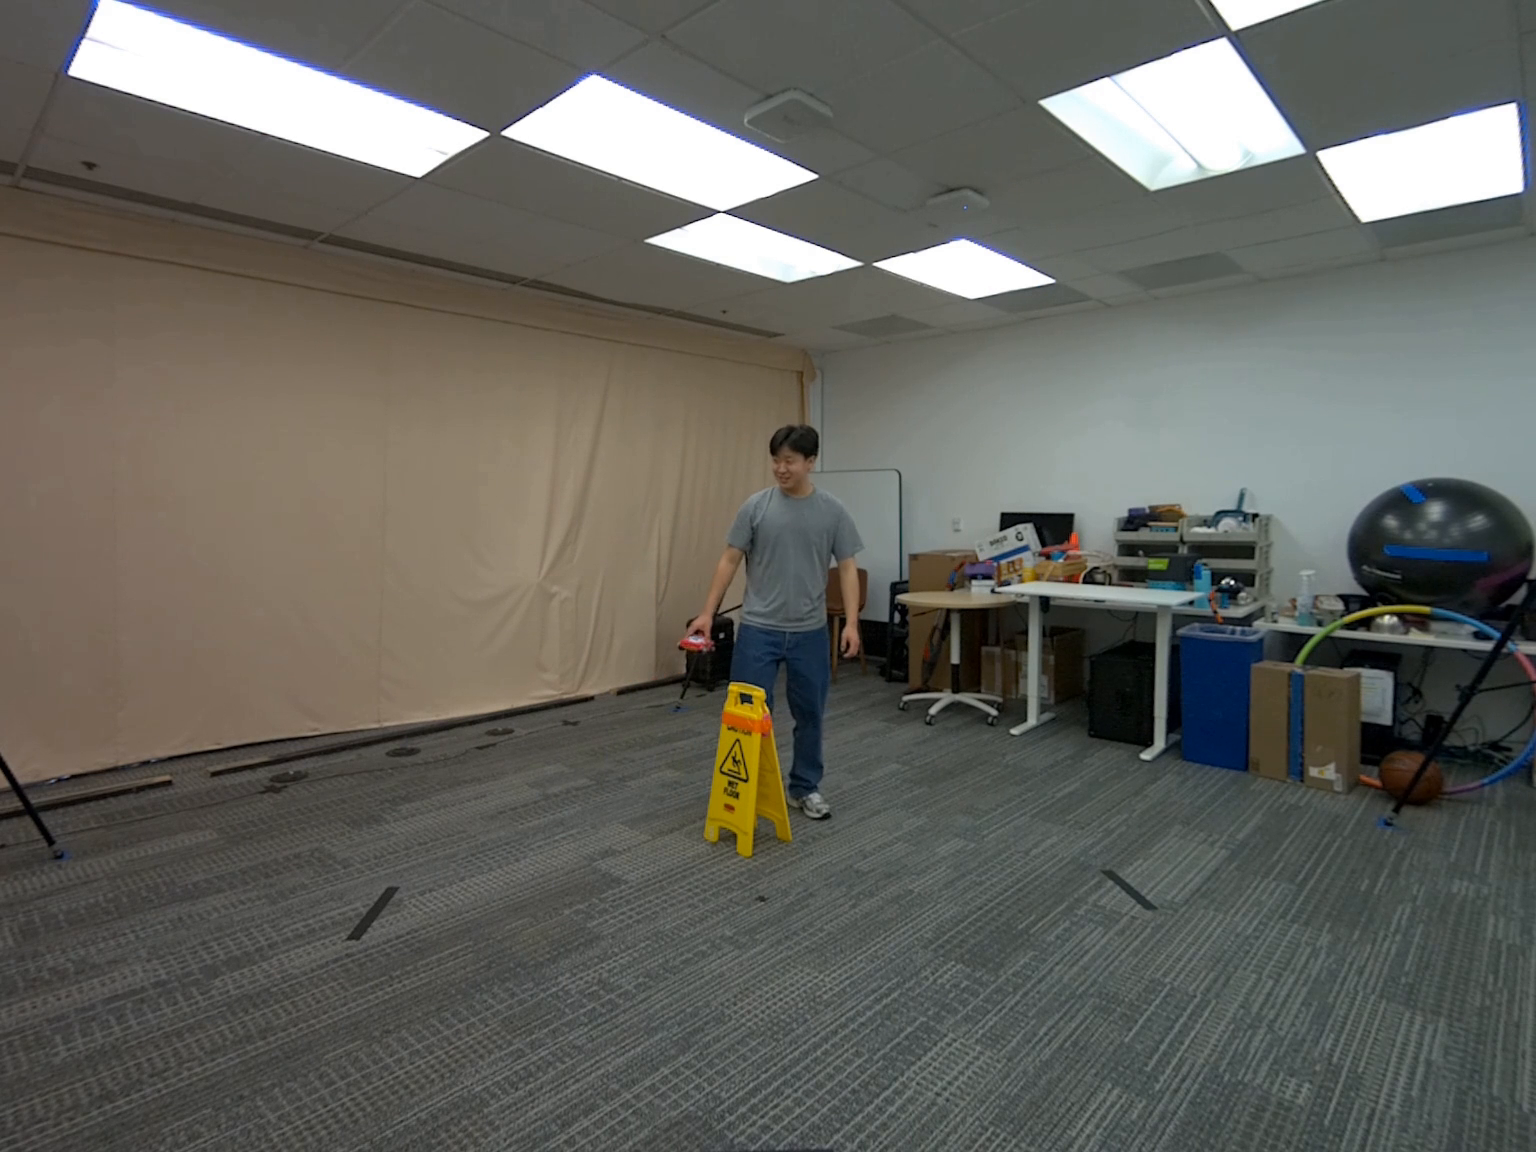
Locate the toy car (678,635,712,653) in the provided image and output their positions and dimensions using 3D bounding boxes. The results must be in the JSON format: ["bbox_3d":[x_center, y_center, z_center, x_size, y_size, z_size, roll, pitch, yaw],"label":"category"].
[{"bbox_3d":[-0.308,0.311,3.716,0.132,0.083,0.251,9,8,12],"label":"toy car"}]
